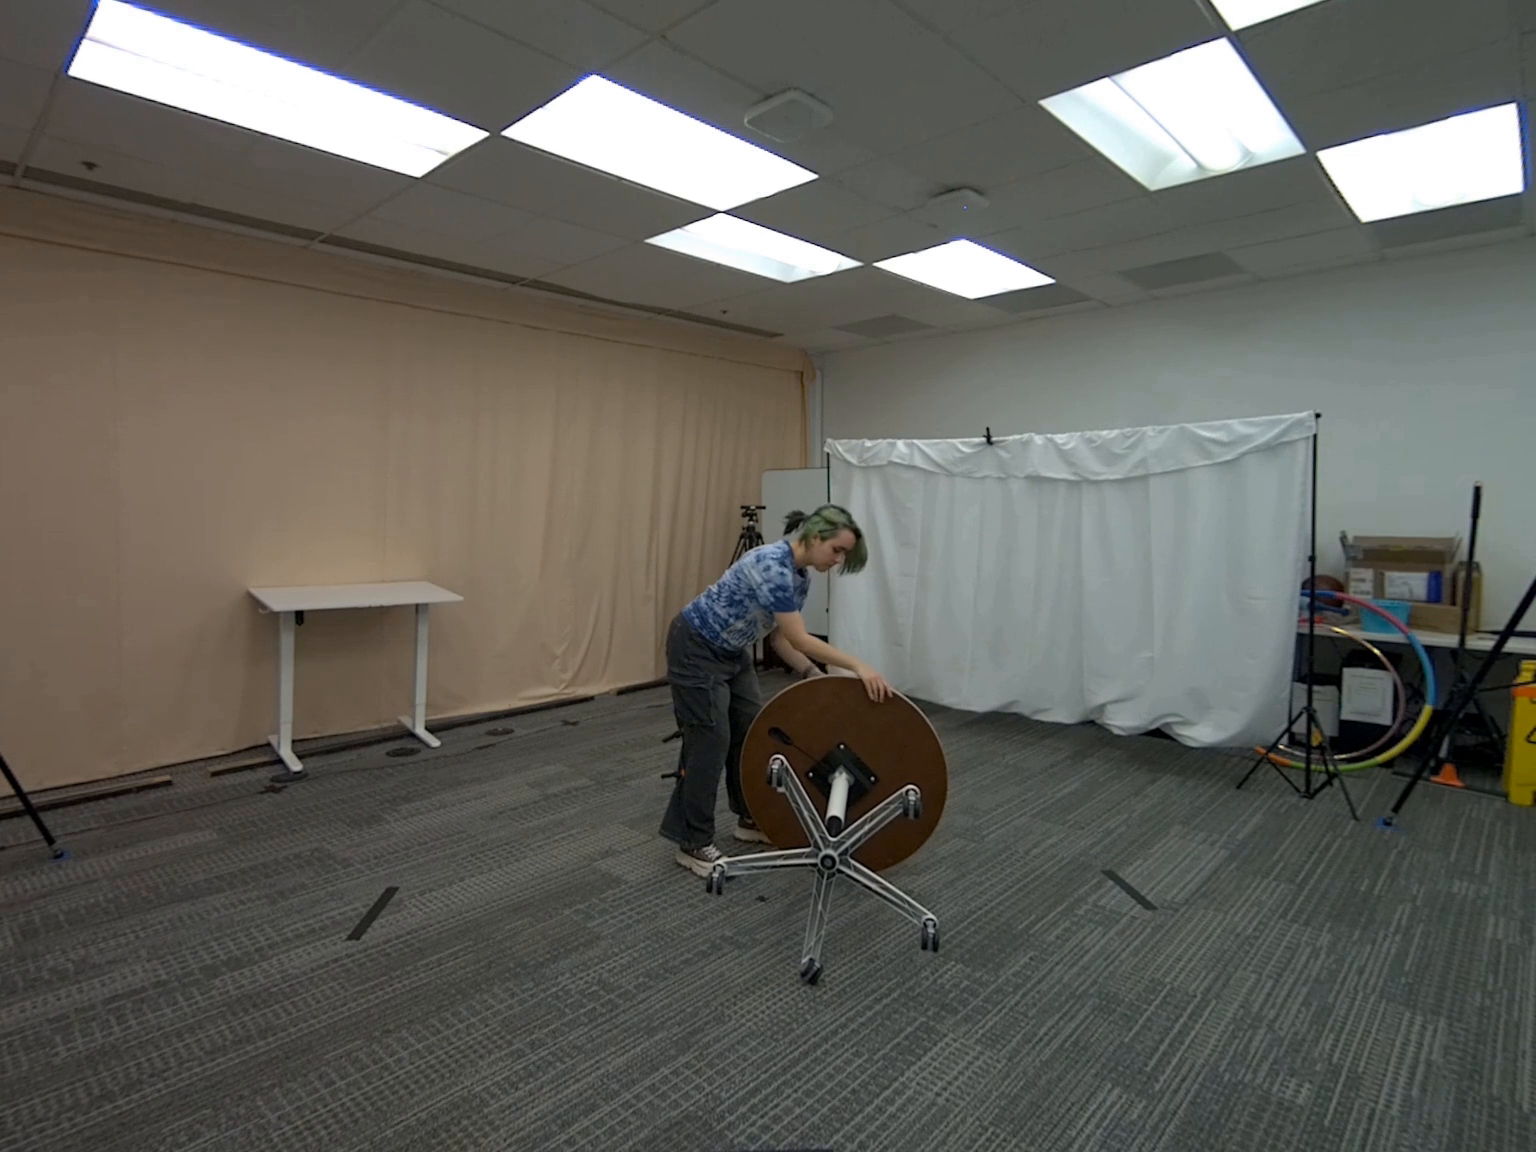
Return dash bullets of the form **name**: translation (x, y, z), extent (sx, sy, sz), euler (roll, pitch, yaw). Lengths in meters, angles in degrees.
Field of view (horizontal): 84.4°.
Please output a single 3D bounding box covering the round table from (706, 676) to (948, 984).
- **round table**: translation (0.228, 0.806, 2.767), extent (0.773, 0.760, 0.789), euler (1, 8, 10)
